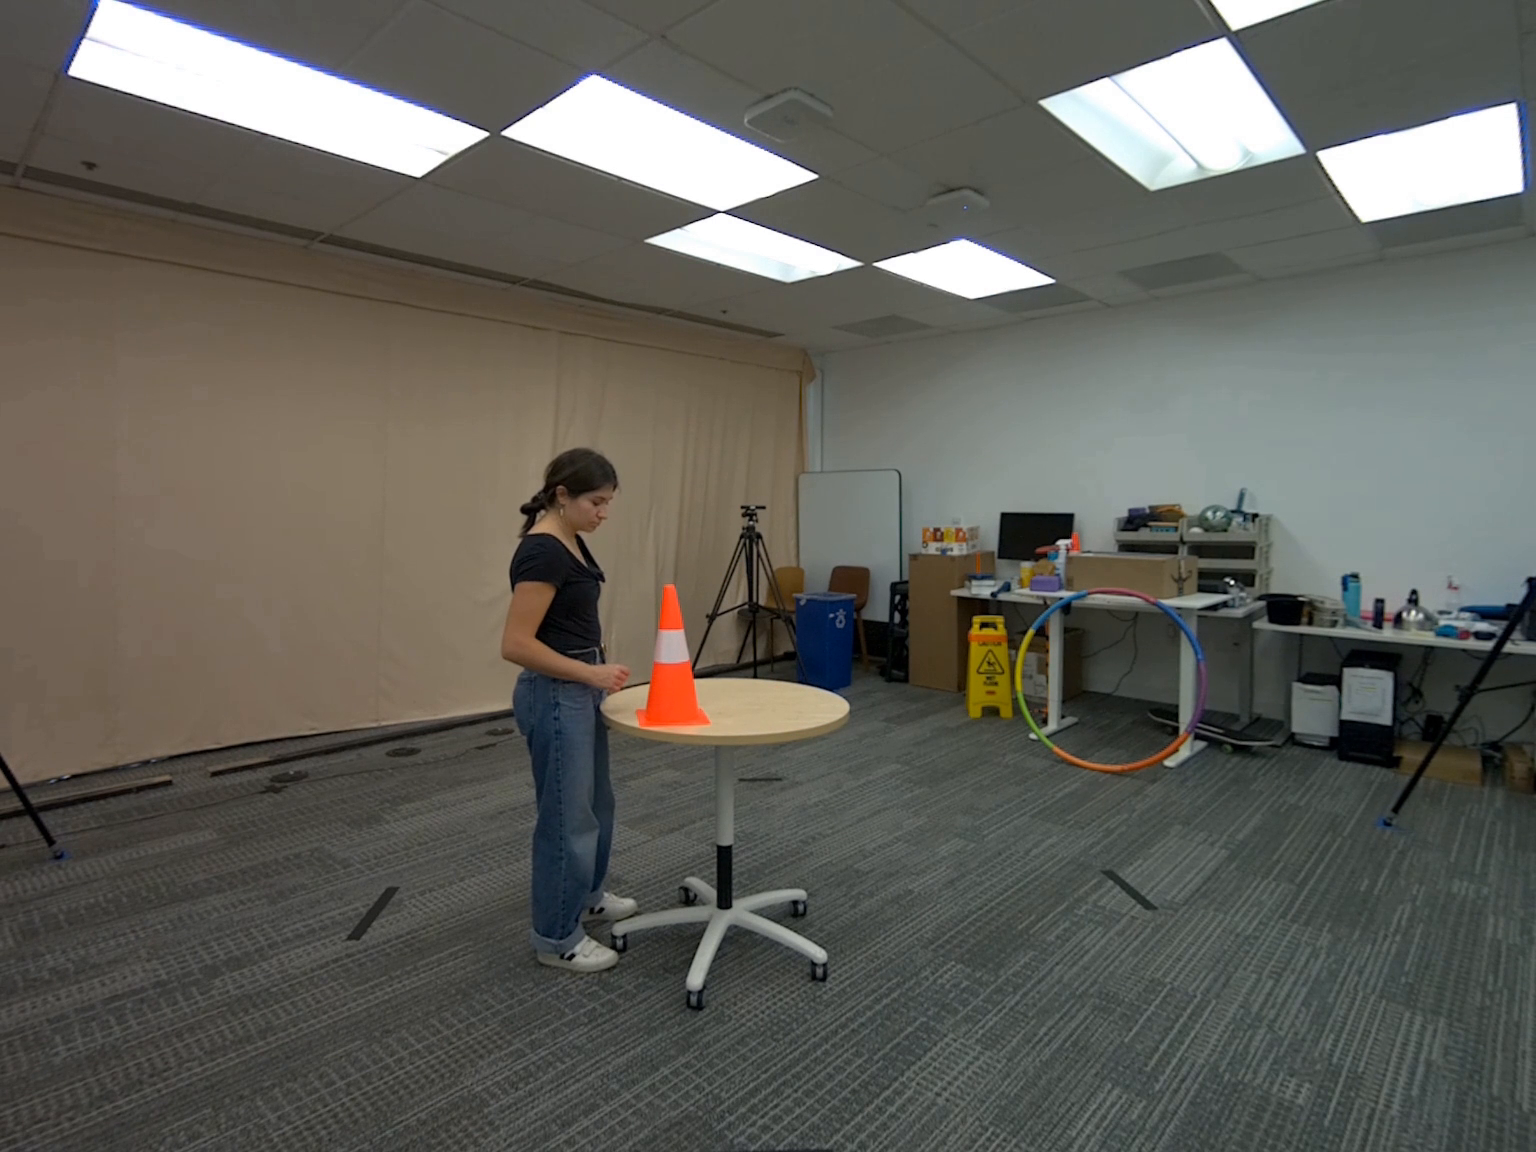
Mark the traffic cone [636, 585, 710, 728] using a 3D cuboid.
[{"bbox_3d":[-0.282,0.226,2.394,0.203,0.383,0.206,-3,1,-11],"label":"traffic cone"}]
